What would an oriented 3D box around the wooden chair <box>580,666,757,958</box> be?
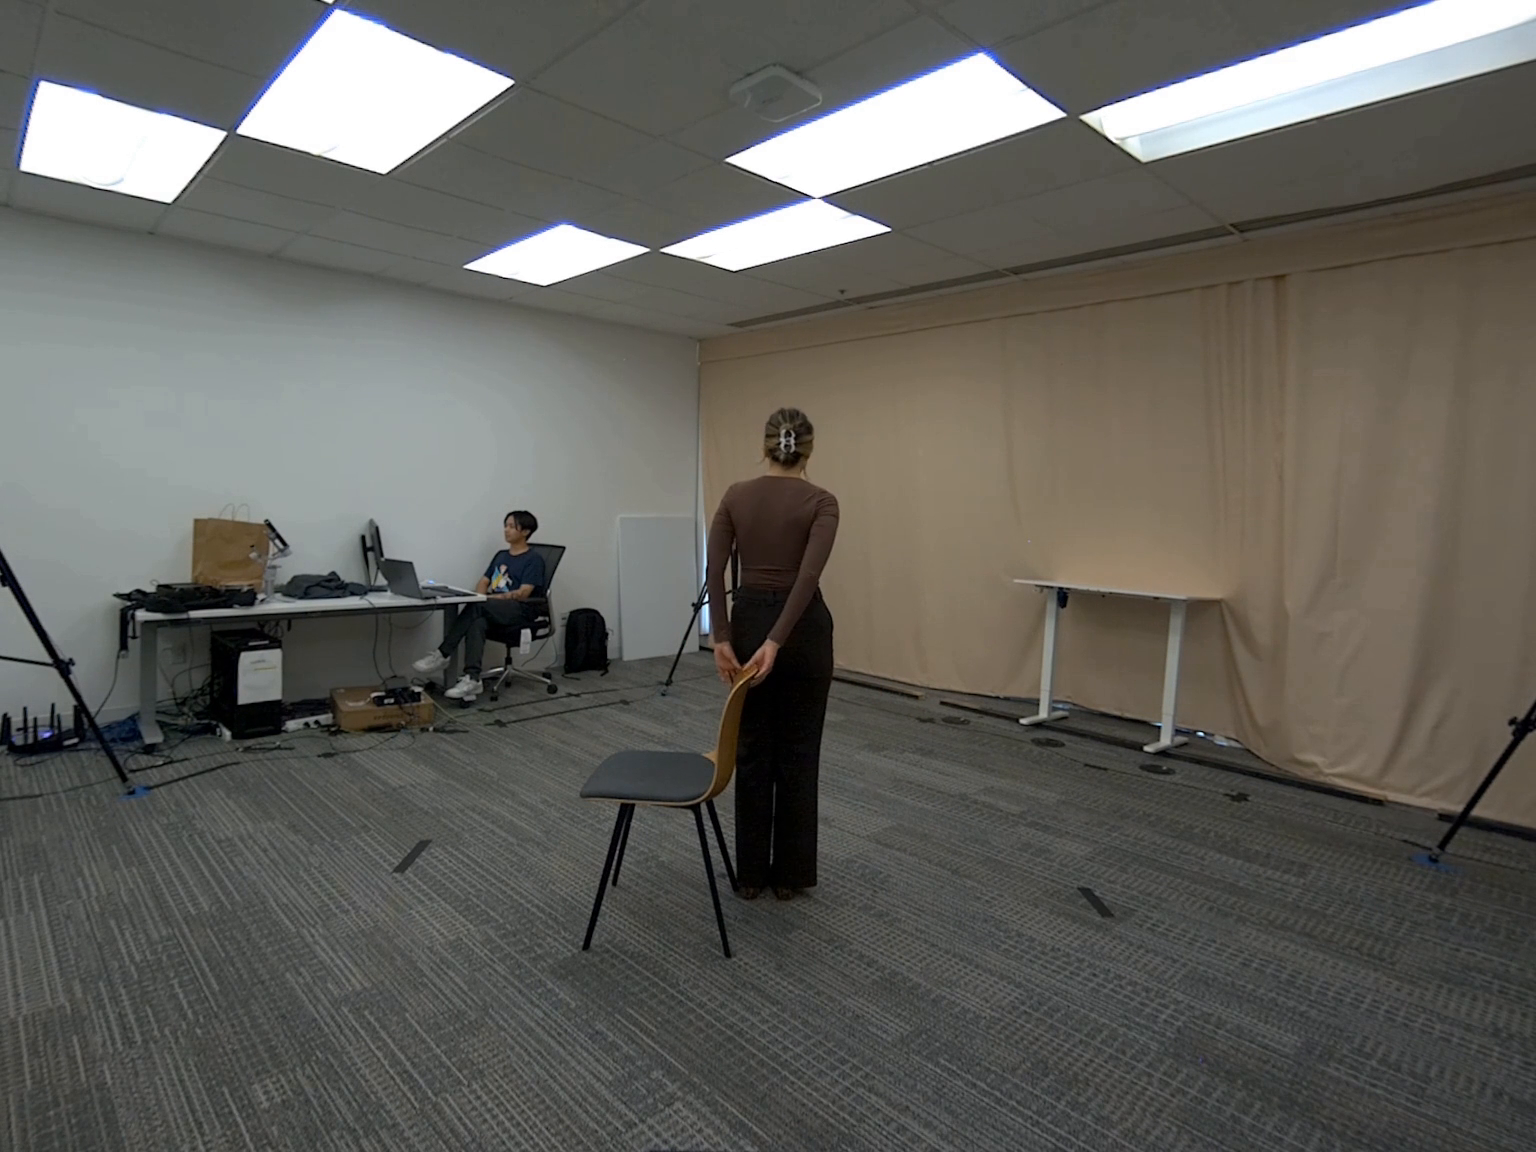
[{"bbox_3d":[-0.338,0.706,2.741,0.524,0.875,0.478,5,4,2],"label":"wooden chair"}]
